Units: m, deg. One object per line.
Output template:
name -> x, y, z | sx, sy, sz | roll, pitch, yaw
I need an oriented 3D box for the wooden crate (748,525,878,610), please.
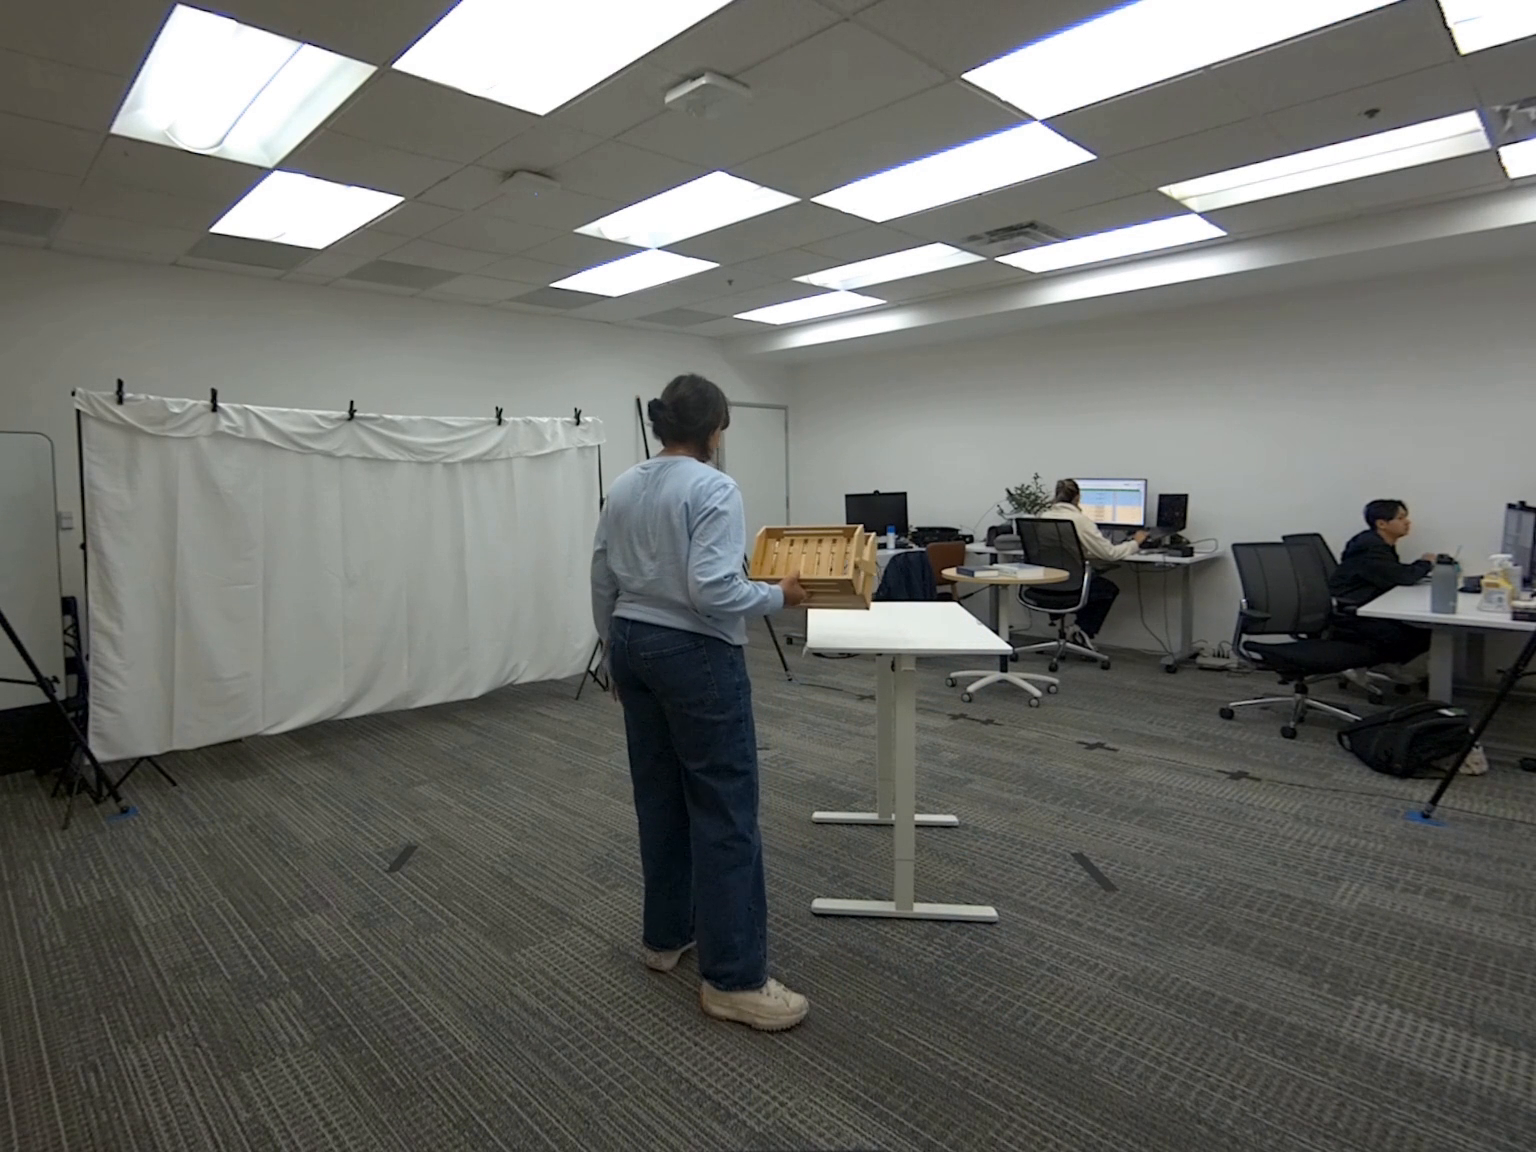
wooden crate -> 0.149, -0.054, 2.538 | 0.330, 0.307, 0.263 | -1, -34, 20
